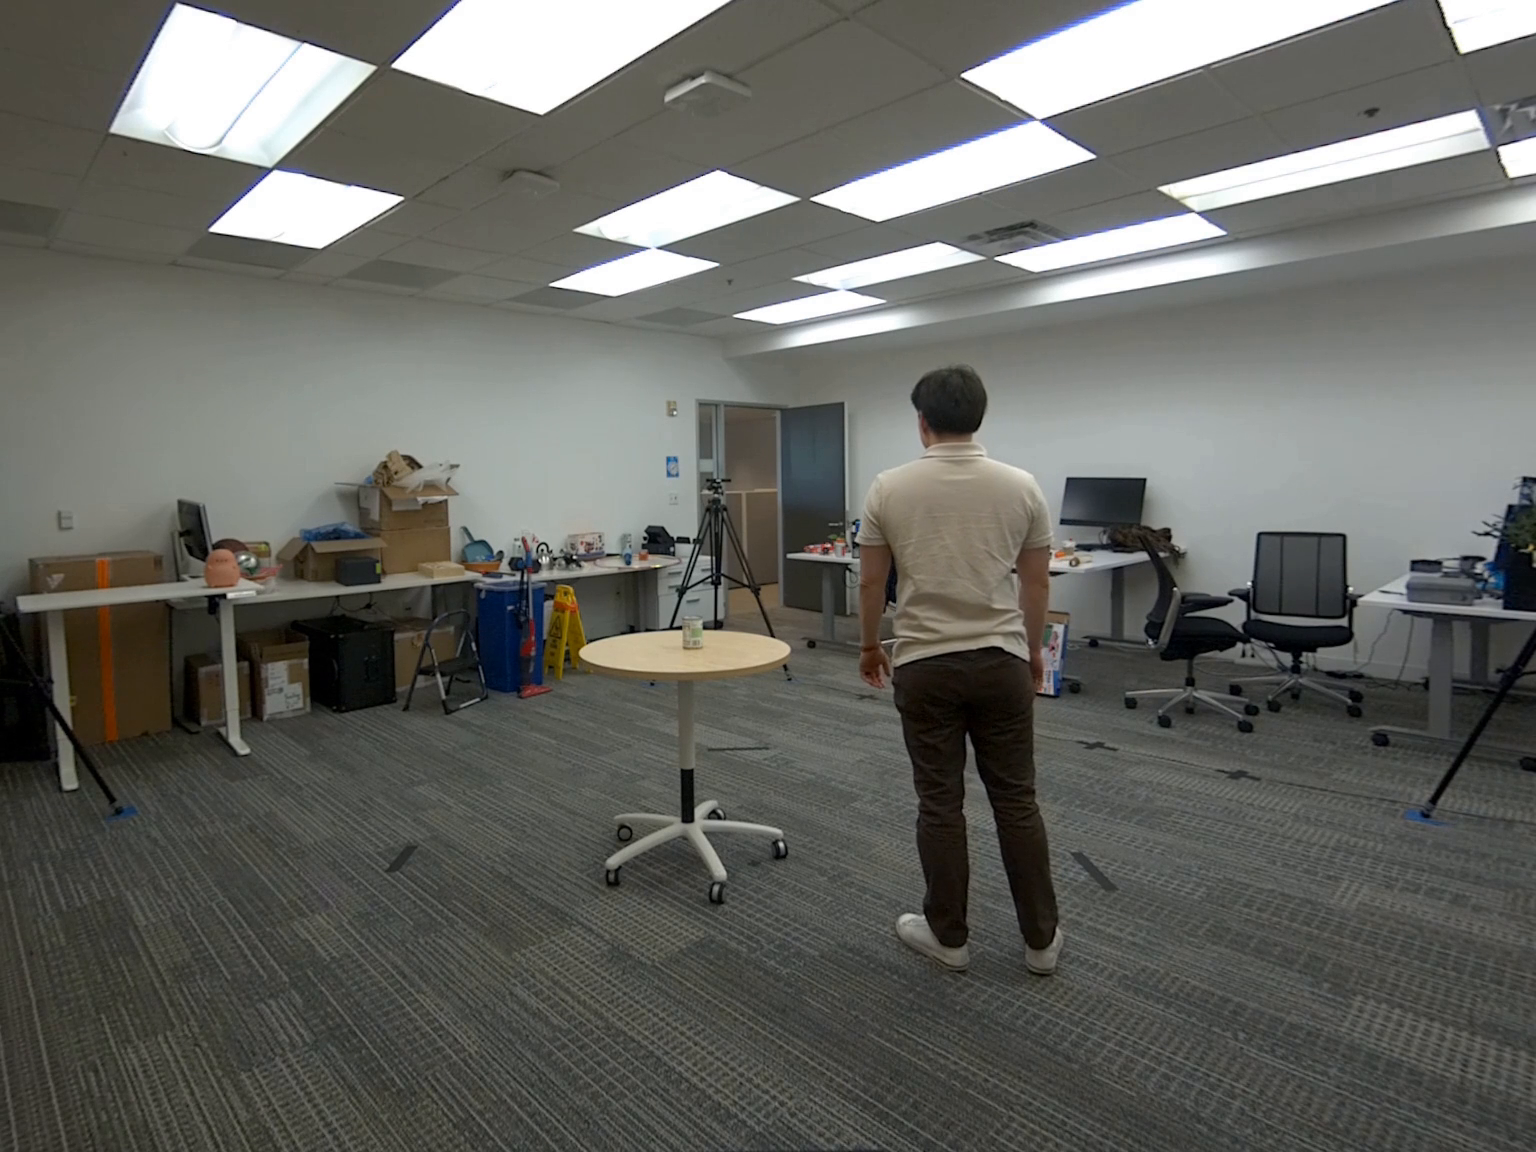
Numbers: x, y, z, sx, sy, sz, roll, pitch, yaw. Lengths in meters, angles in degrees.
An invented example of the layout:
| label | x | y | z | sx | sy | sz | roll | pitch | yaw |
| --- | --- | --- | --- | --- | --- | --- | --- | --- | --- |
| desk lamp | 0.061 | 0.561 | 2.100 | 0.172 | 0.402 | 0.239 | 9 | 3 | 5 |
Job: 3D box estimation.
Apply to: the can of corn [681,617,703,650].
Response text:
| label | x | y | z | sx | sy | sz | roll | pitch | yaw |
| --- | --- | --- | --- | --- | --- | --- | --- | --- | --- |
| can of corn | -0.274 | 0.204 | 3.118 | 0.074 | 0.111 | 0.074 | -2 | 2 | -2 |
